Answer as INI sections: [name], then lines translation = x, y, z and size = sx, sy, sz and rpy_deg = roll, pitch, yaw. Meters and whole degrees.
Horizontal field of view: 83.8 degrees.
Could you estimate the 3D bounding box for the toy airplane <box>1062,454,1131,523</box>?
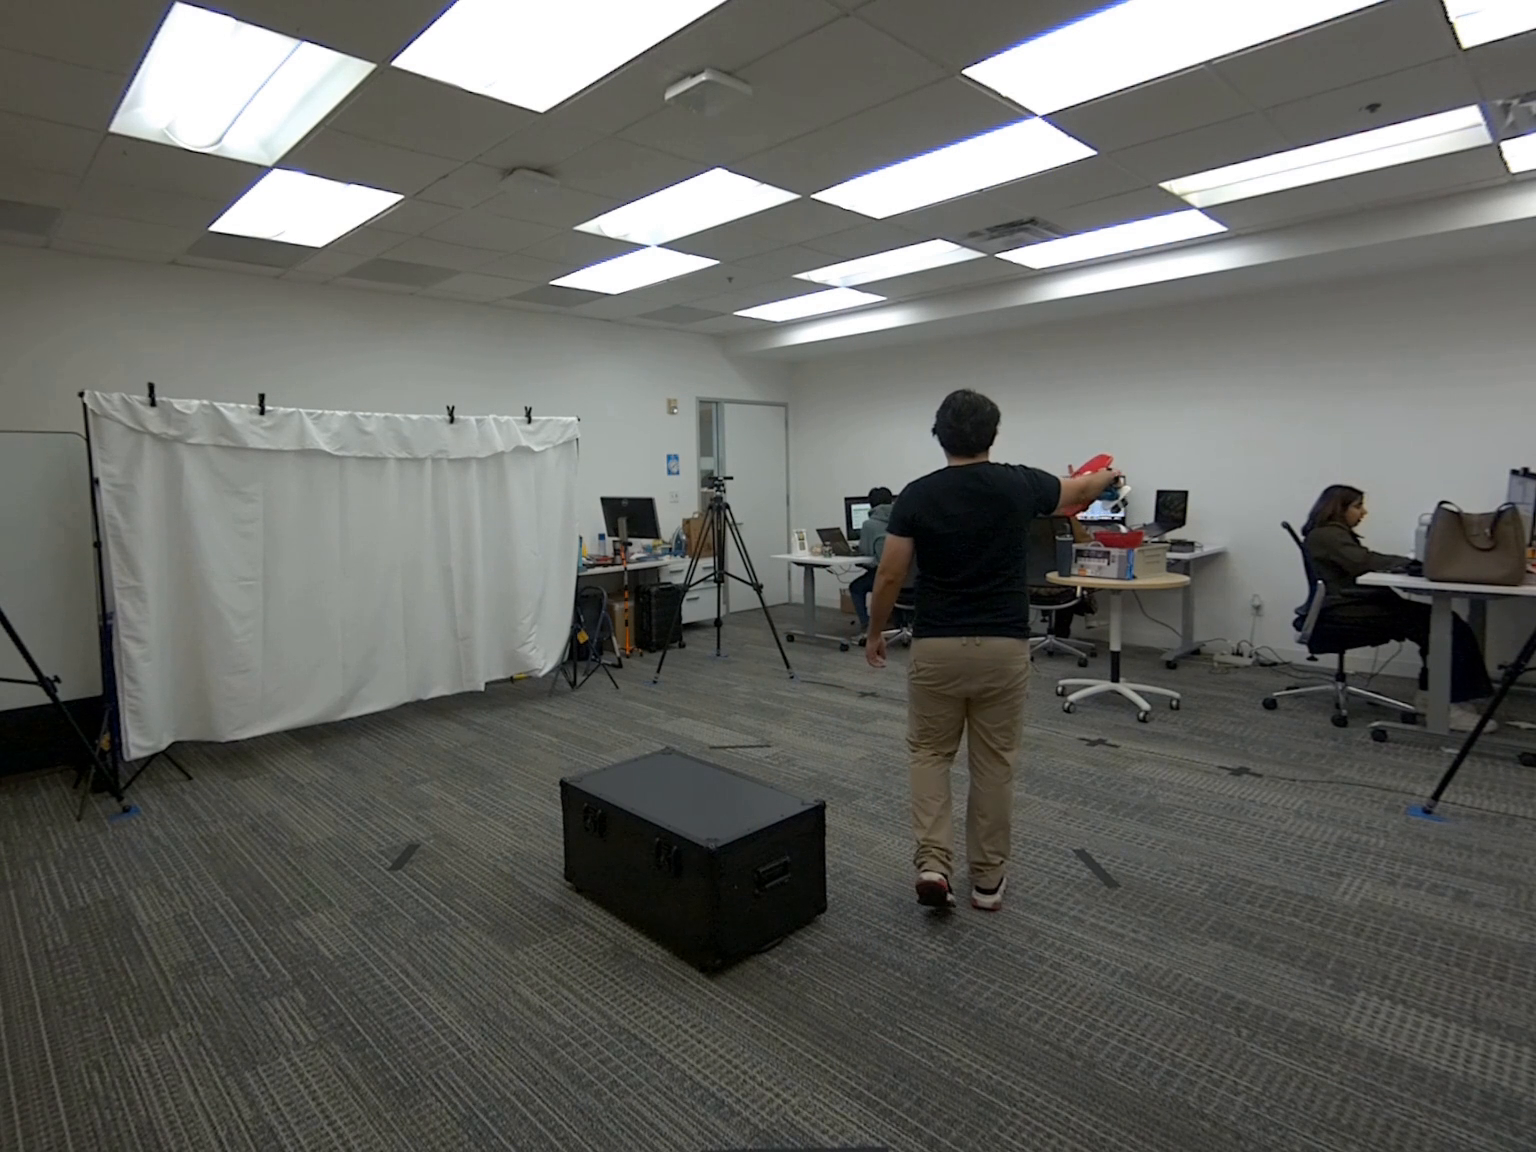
[toy airplane]
translation = 1.227, -0.328, 3.145
size = 0.251, 0.154, 0.263
rpy_deg = -50, 16, -28
